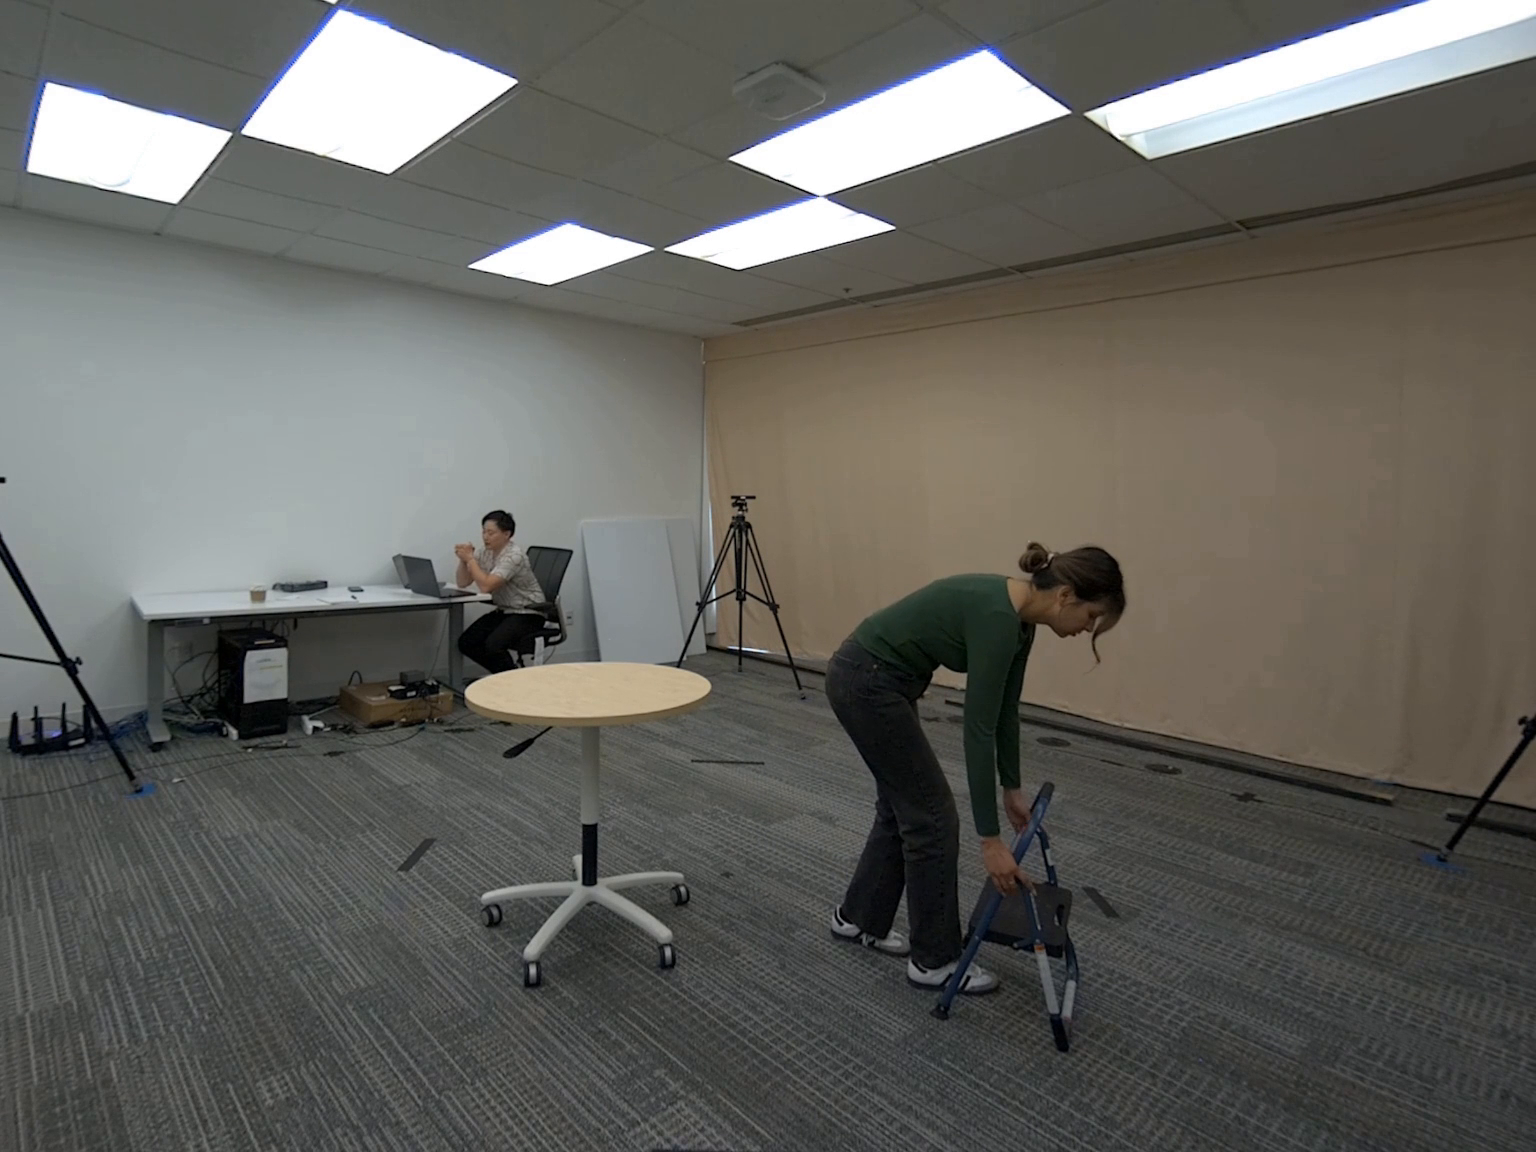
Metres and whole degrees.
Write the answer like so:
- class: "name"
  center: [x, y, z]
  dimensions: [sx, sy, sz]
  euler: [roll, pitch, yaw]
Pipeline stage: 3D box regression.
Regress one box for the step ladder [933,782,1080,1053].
- class: "step ladder"
  center: [0.688, 0.886, 2.373]
  dimensions: [0.356, 0.604, 0.424]
  euler: [4, 5, 24]
